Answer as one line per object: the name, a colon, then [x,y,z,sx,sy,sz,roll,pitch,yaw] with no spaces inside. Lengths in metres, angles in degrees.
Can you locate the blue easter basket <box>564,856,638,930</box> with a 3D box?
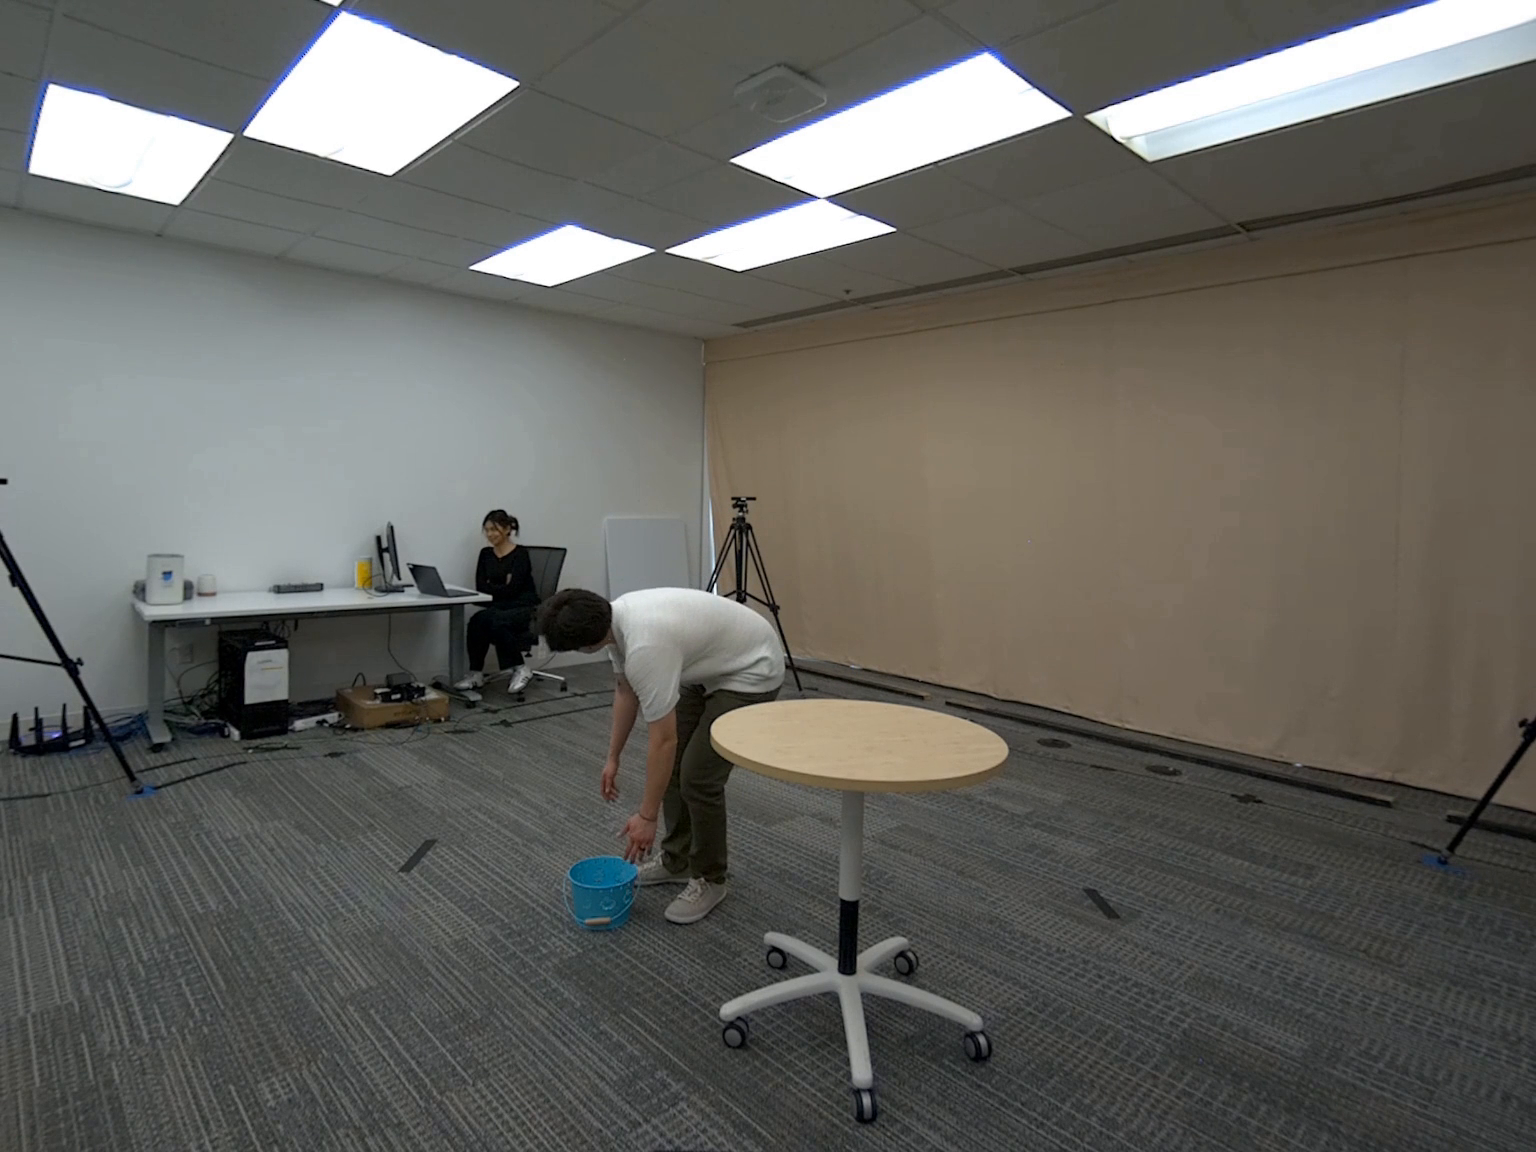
blue easter basket: [-0.552,1.048,2.777,0.243,0.155,0.244,1,4,-1]
